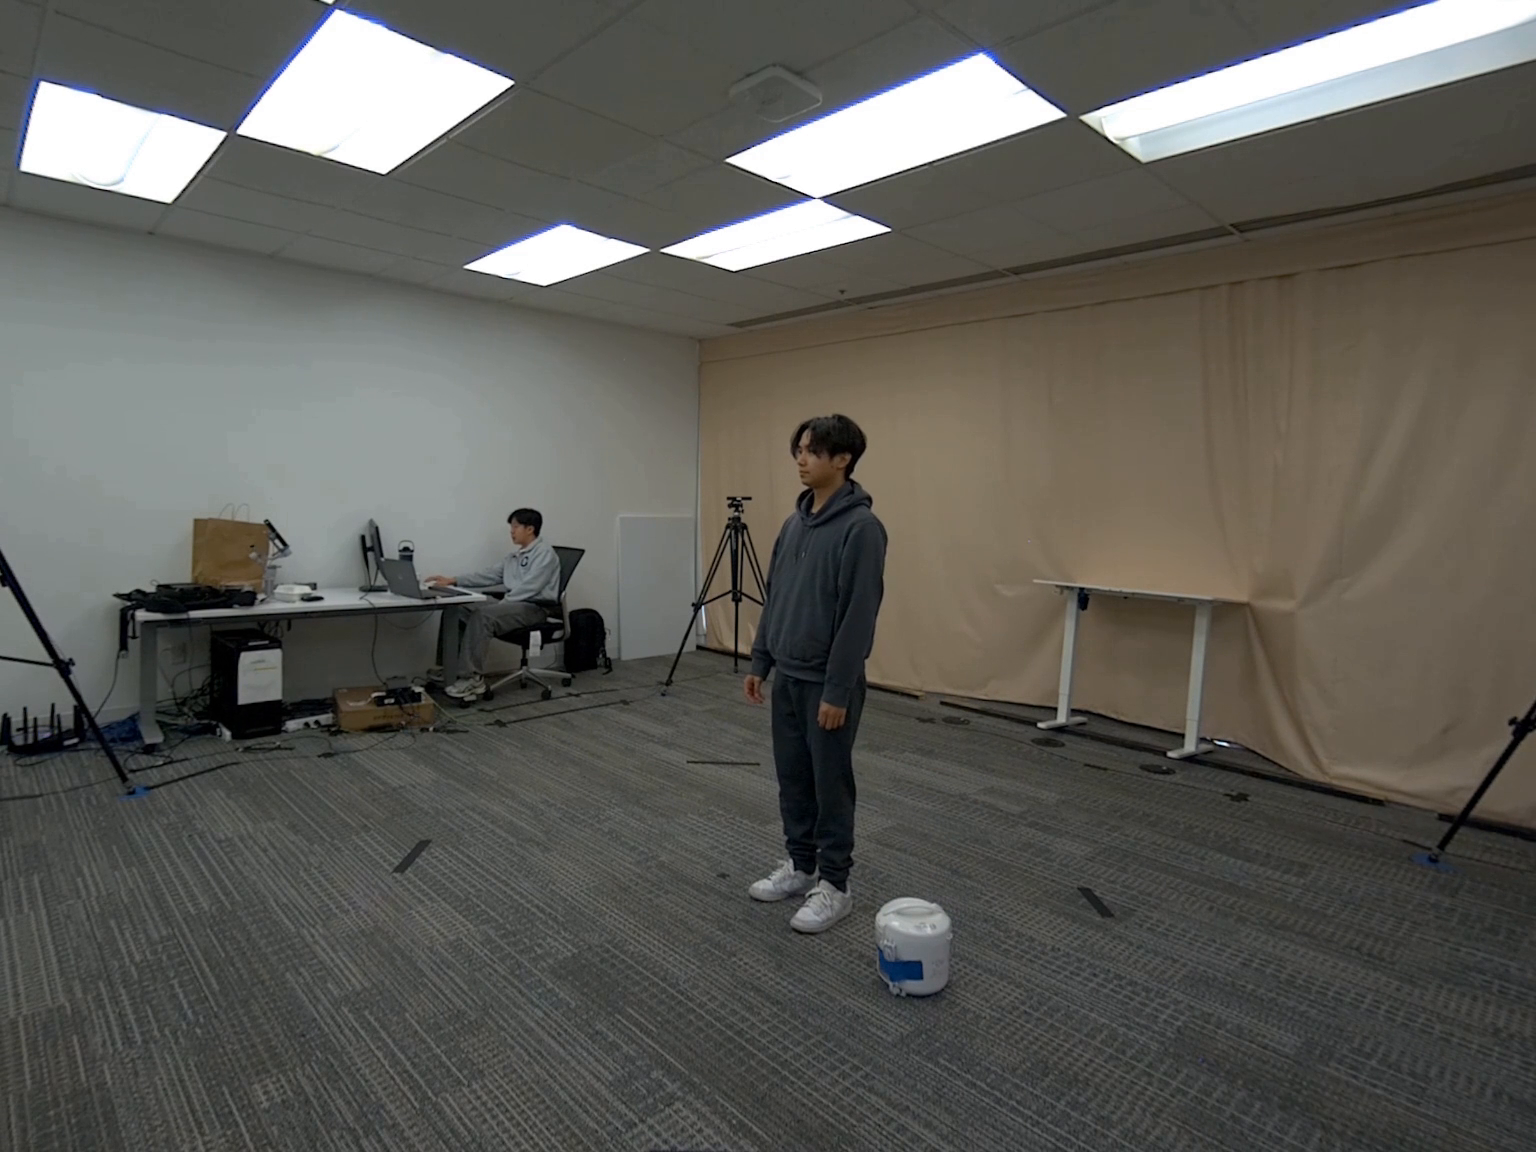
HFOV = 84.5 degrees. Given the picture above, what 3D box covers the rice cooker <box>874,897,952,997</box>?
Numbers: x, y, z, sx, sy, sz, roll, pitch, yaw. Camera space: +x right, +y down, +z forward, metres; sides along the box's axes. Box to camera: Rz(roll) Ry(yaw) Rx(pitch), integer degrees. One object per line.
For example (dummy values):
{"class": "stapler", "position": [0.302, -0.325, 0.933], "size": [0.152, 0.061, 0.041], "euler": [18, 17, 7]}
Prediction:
{"class": "rice cooker", "position": [0.413, 1.067, 2.453], "size": [0.219, 0.232, 0.219], "euler": [1, 5, -6]}
